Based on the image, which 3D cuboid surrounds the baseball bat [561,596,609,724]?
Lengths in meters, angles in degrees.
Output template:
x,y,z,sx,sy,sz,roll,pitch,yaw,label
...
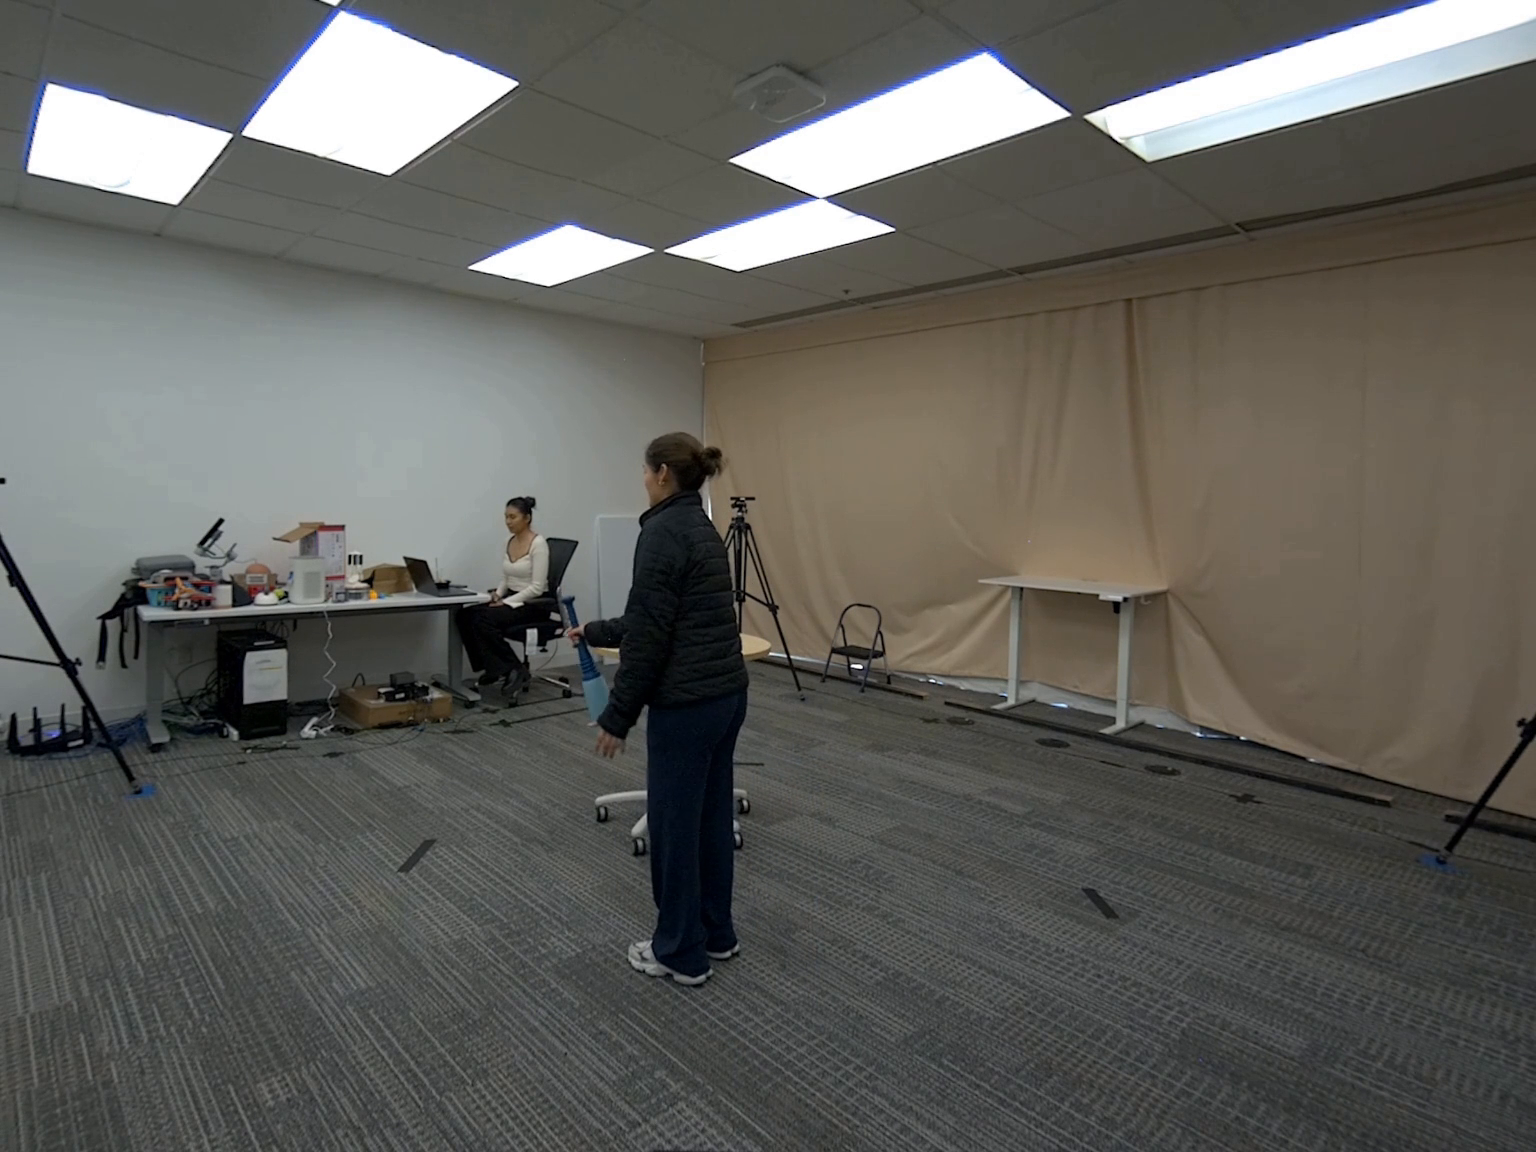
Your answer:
x,y,z,sx,sy,sz,roll,pitch,yaw,label
-0.607,0.321,2.830,0.089,0.542,0.089,-14,1,-1,baseball bat
